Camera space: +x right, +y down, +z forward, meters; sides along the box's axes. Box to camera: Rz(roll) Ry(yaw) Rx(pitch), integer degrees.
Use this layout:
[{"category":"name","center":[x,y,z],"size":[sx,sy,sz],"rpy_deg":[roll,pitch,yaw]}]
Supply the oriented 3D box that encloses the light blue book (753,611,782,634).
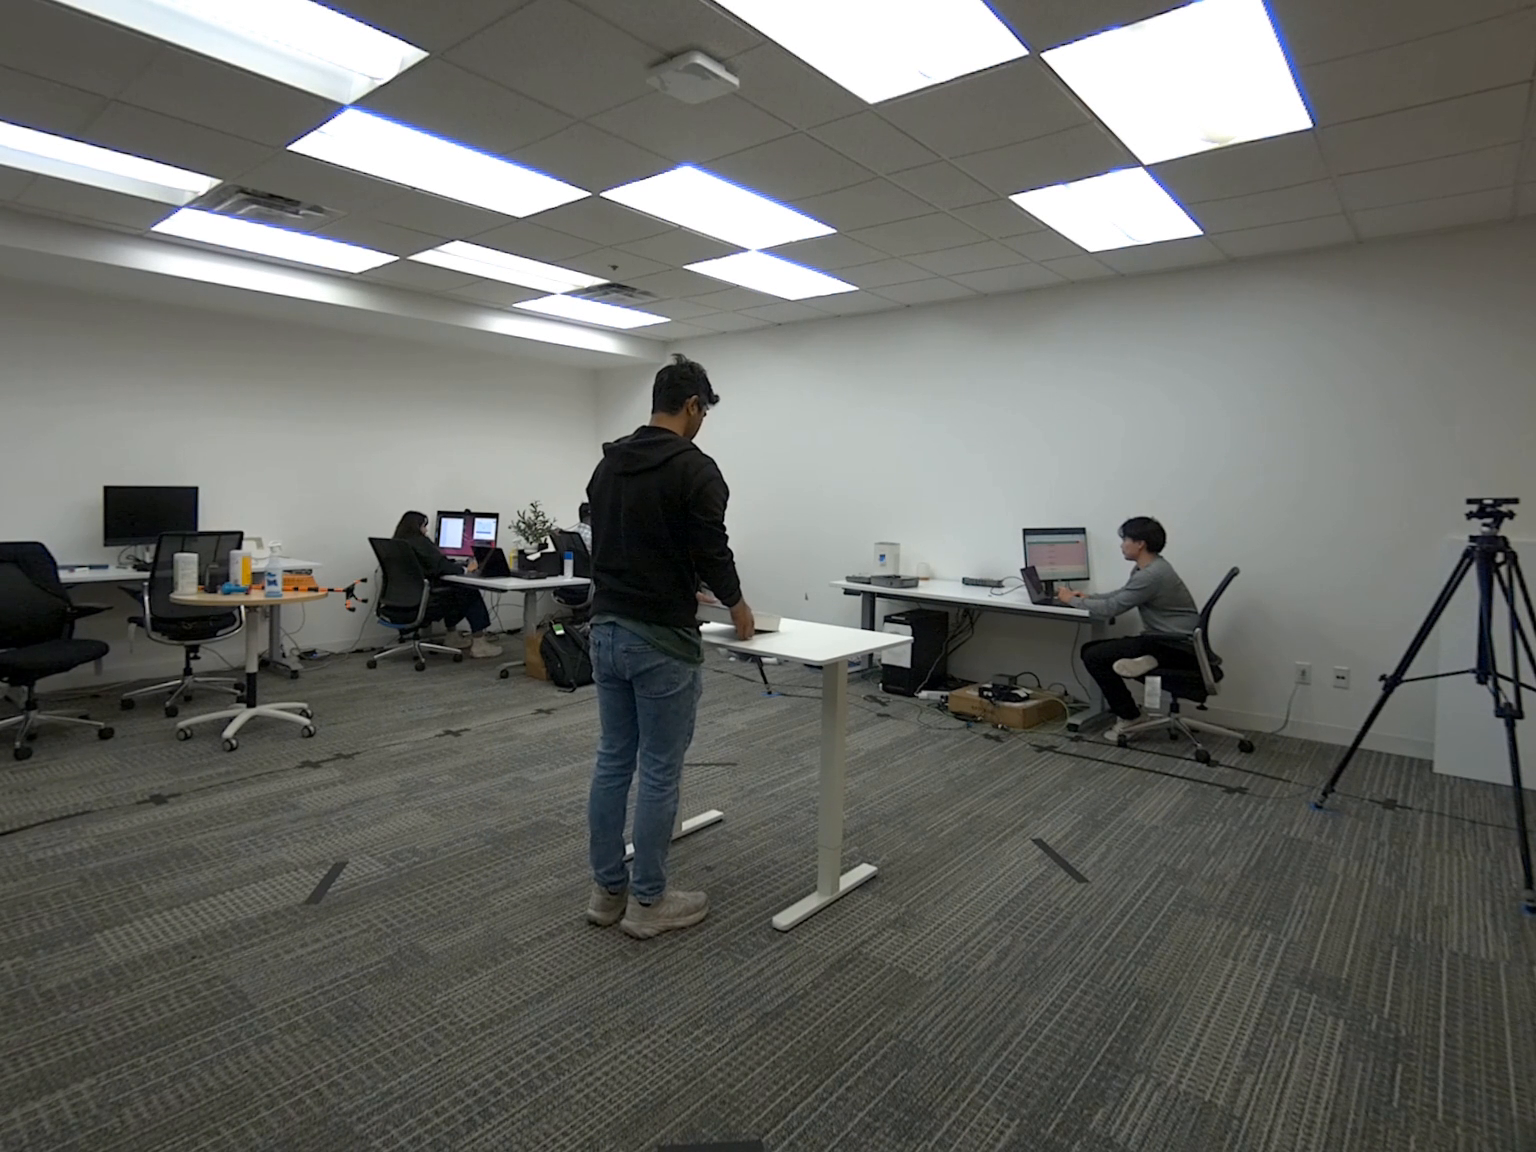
[{"category":"light blue book","center":[-0.096,0.149,3.011],"size":[0.198,0.059,0.252],"rpy_deg":[8,-1,38]}]
